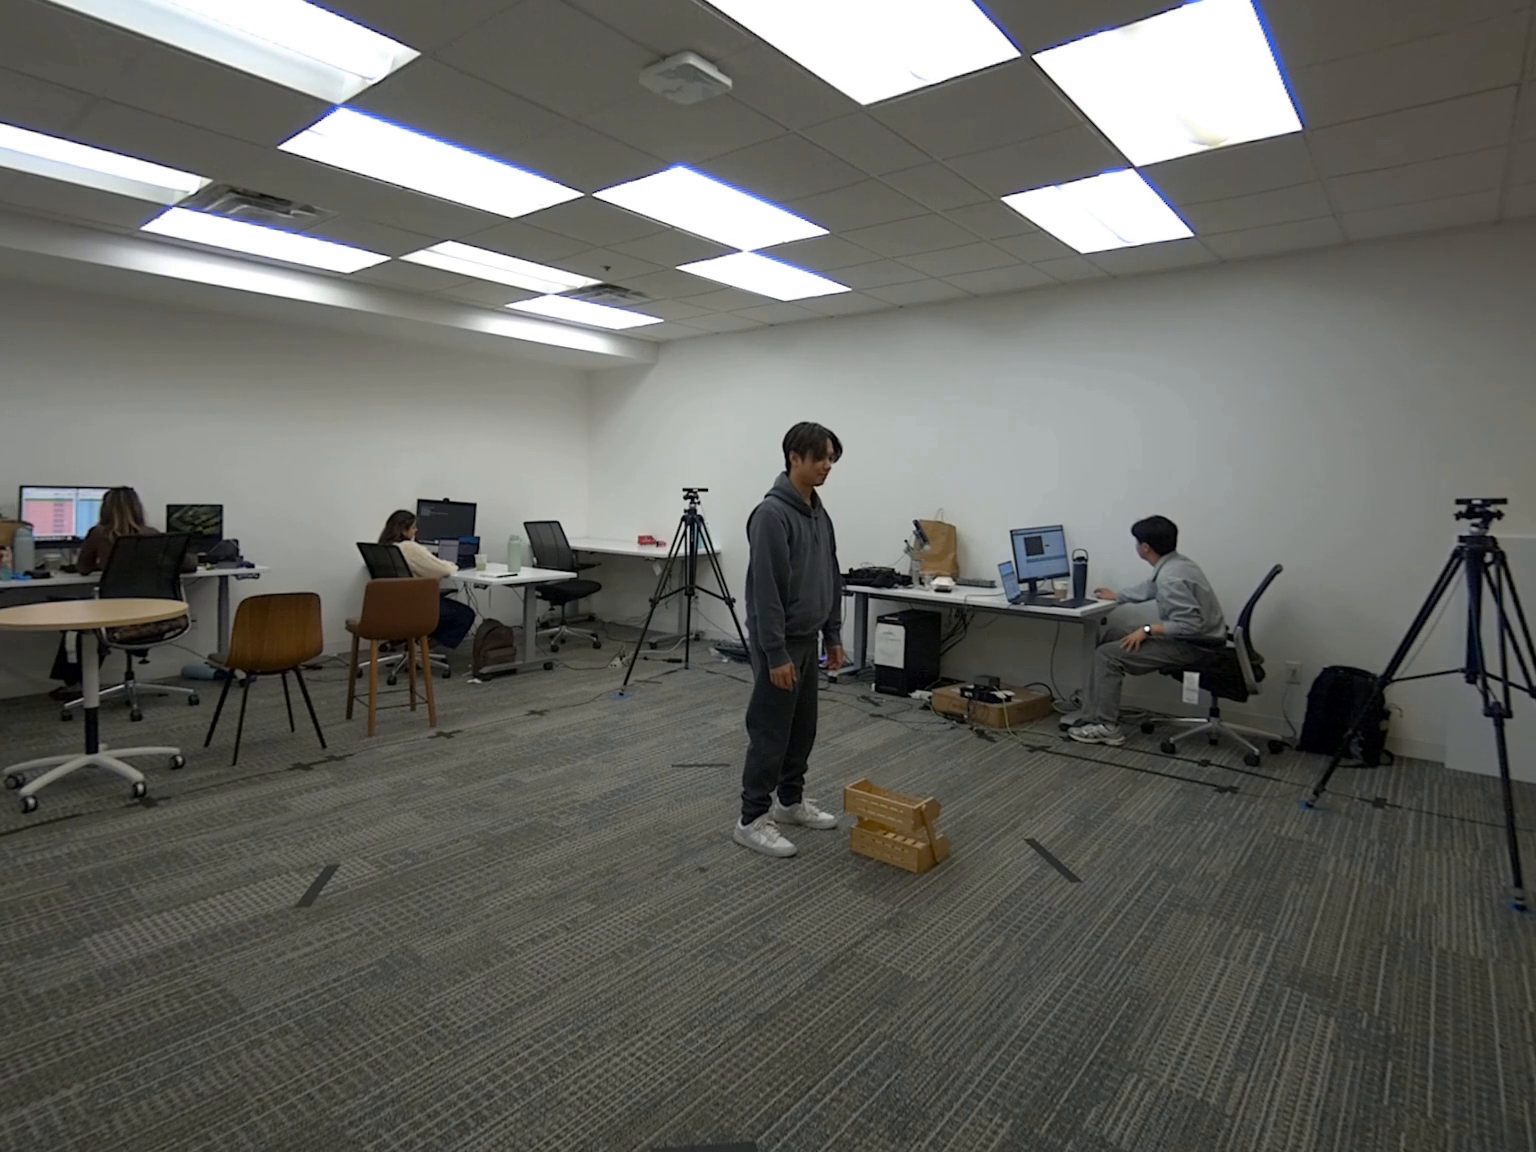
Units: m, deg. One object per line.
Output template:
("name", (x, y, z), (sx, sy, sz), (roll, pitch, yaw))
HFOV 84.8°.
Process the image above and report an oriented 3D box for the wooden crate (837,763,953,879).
("wooden crate", (0.490, 0.936, 3.264), (0.335, 0.272, 0.293), (5, 7, 39))
